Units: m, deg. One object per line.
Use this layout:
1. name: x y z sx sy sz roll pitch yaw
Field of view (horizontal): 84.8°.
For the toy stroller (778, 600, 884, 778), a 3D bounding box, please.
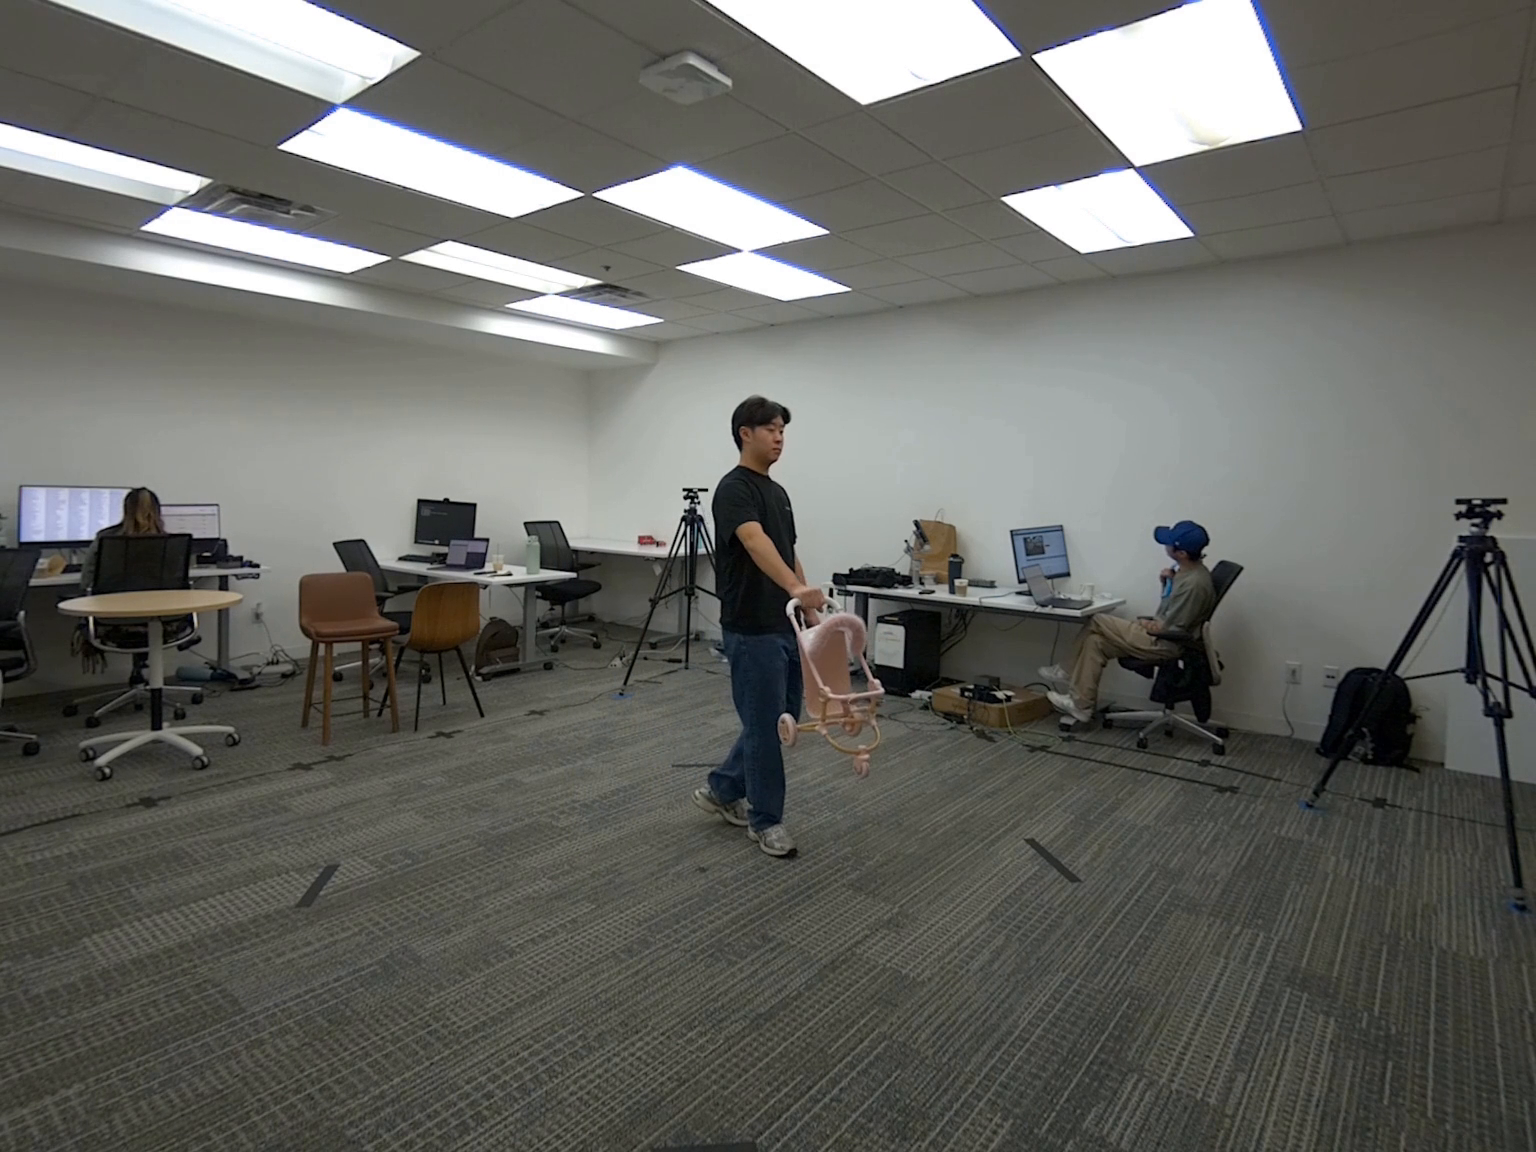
1. toy stroller: 0.208 0.345 2.730 0.275 0.534 0.350 -2 2 -24
